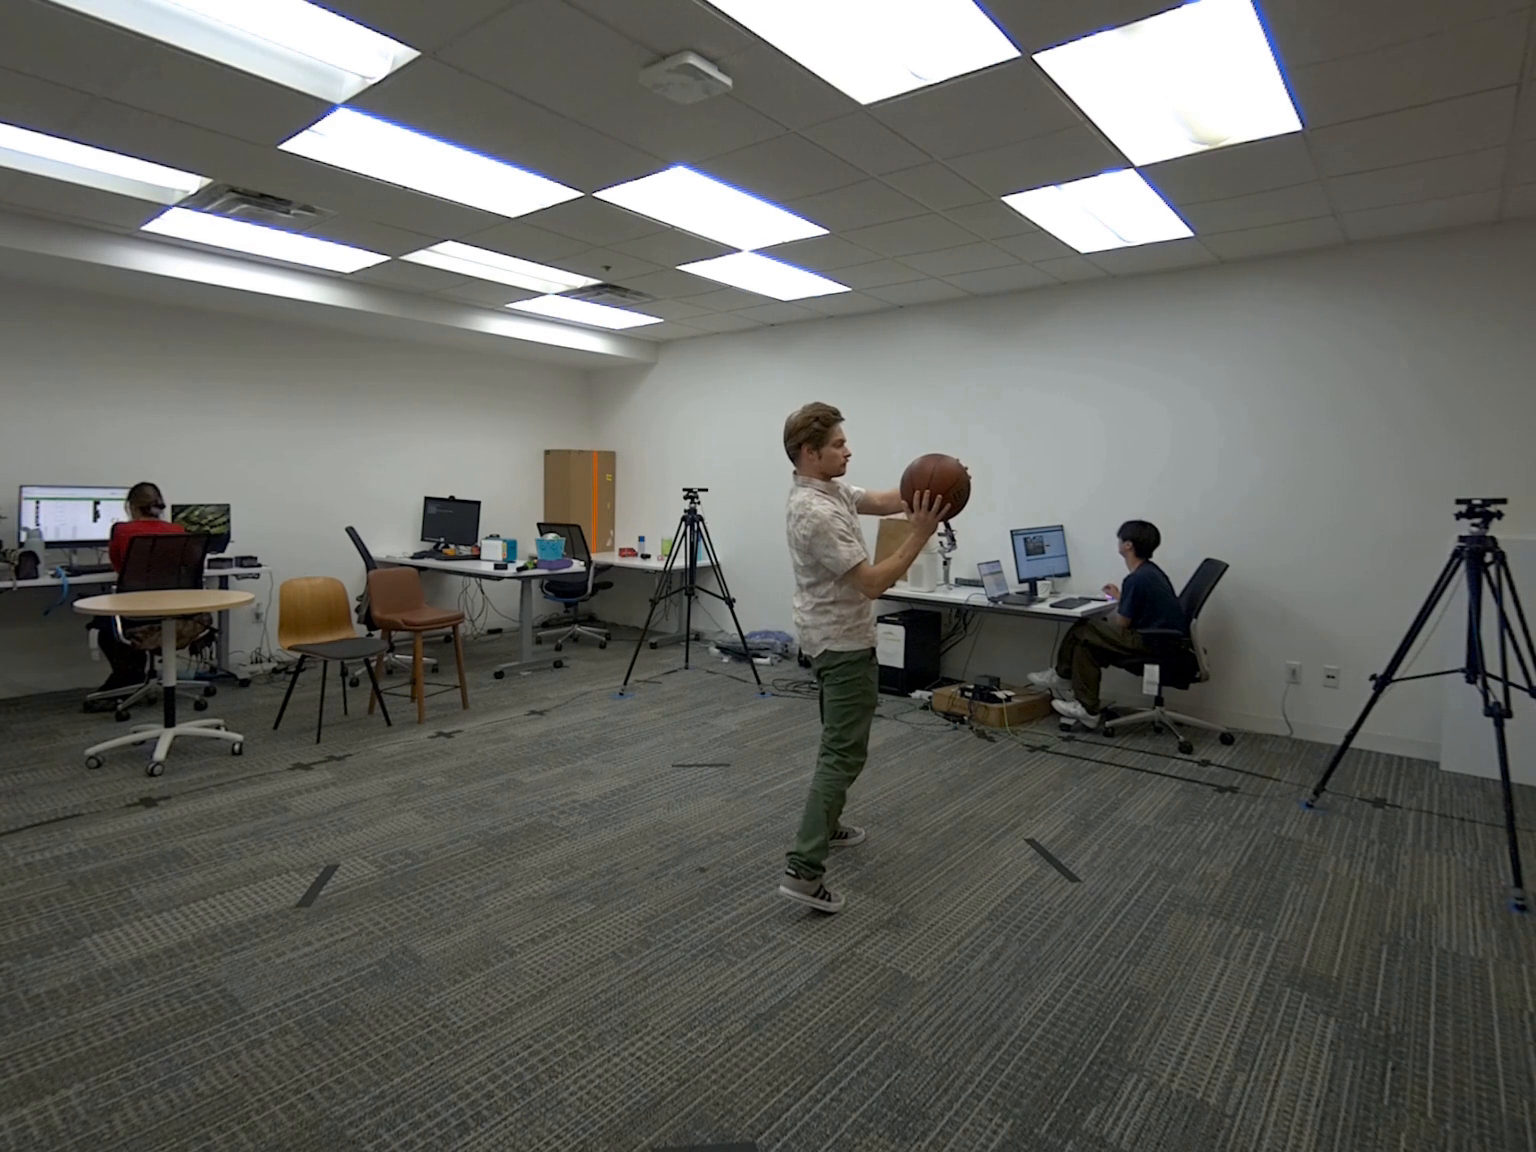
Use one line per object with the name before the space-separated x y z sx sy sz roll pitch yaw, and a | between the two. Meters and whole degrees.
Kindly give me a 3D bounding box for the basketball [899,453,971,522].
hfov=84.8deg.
basketball | 0.575 -0.312 2.948 0.235 0.235 0.237 1 4 -2
